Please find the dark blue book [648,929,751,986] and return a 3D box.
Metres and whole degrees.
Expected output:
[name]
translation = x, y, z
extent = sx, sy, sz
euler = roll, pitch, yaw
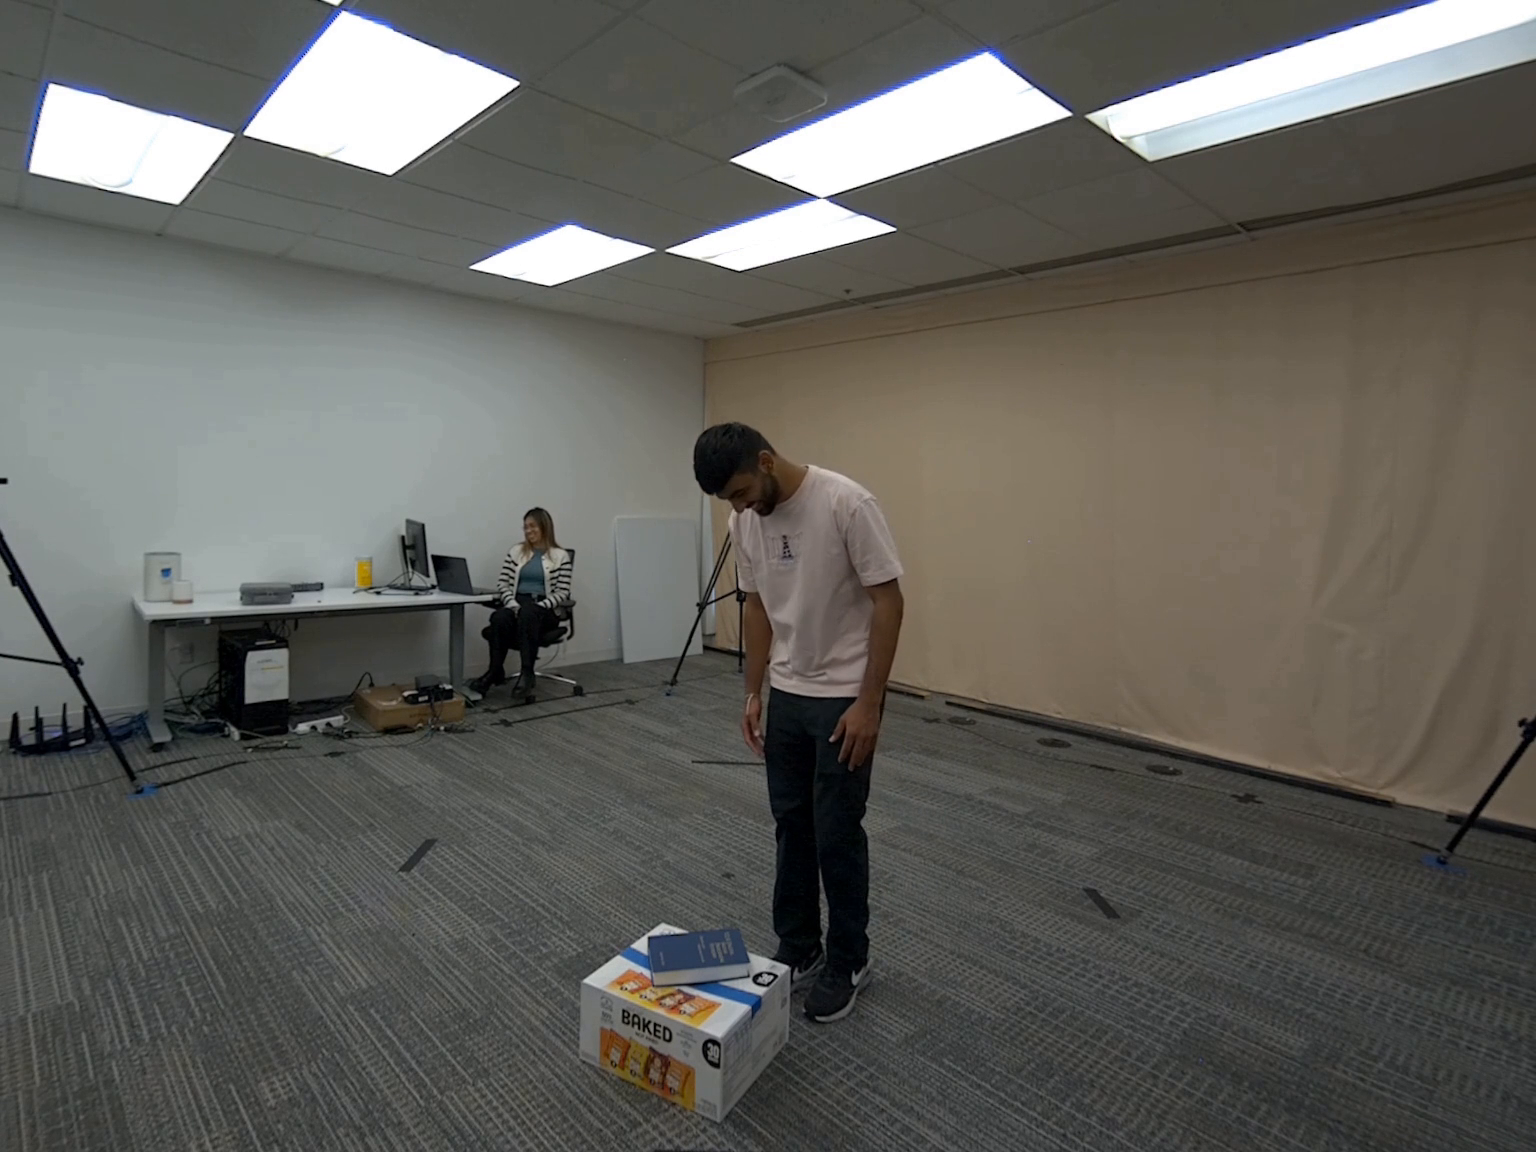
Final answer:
[dark blue book]
translation = -0.194, 0.982, 2.139
extent = 0.243, 0.045, 0.165
euler = 0, 7, -11
